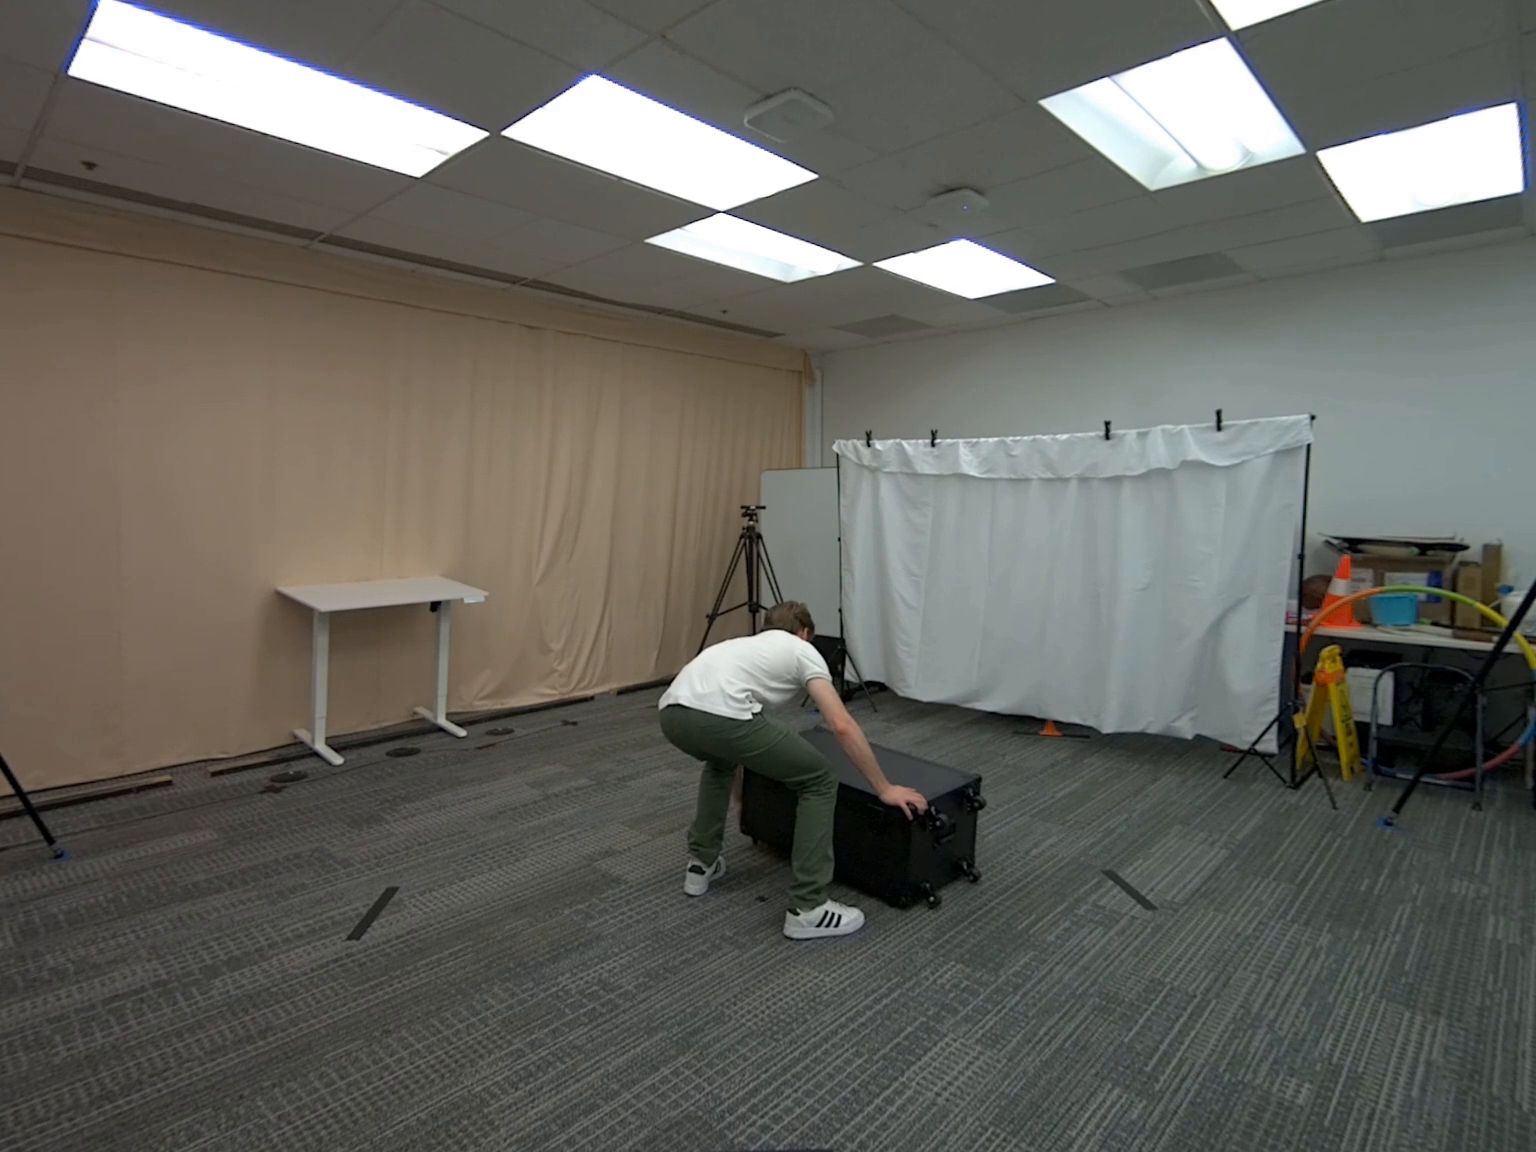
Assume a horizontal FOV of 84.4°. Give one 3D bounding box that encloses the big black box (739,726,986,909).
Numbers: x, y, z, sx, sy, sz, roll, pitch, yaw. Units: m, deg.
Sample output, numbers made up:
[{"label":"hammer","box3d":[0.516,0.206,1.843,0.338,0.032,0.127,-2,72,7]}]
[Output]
[{"label":"big black box","box3d":[0.375,0.912,3.267,0.899,0.384,0.507,9,8,43]}]
